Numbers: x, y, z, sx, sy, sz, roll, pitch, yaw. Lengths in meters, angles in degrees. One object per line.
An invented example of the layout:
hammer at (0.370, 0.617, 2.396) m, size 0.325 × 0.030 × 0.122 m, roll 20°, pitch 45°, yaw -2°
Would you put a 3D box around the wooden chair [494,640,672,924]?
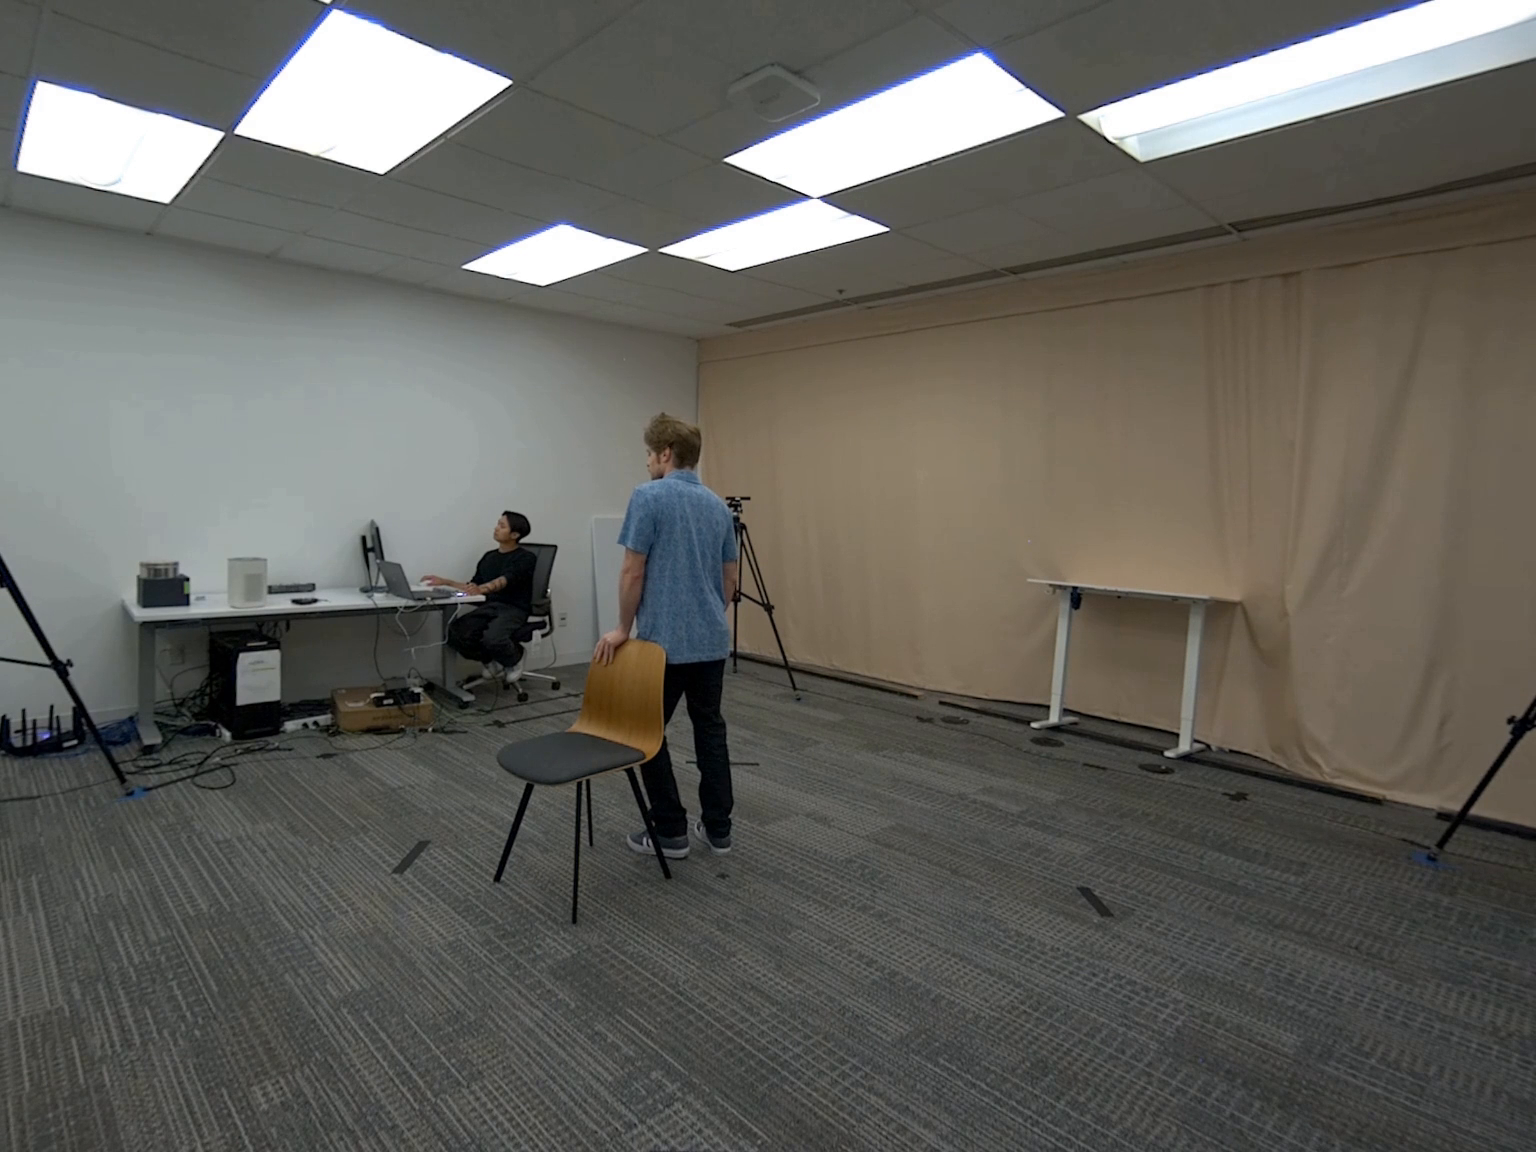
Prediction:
wooden chair at (-0.664, 0.676, 3.001) m, size 0.490 × 0.877 × 0.510 m, roll 4°, pitch 0°, yaw 39°
